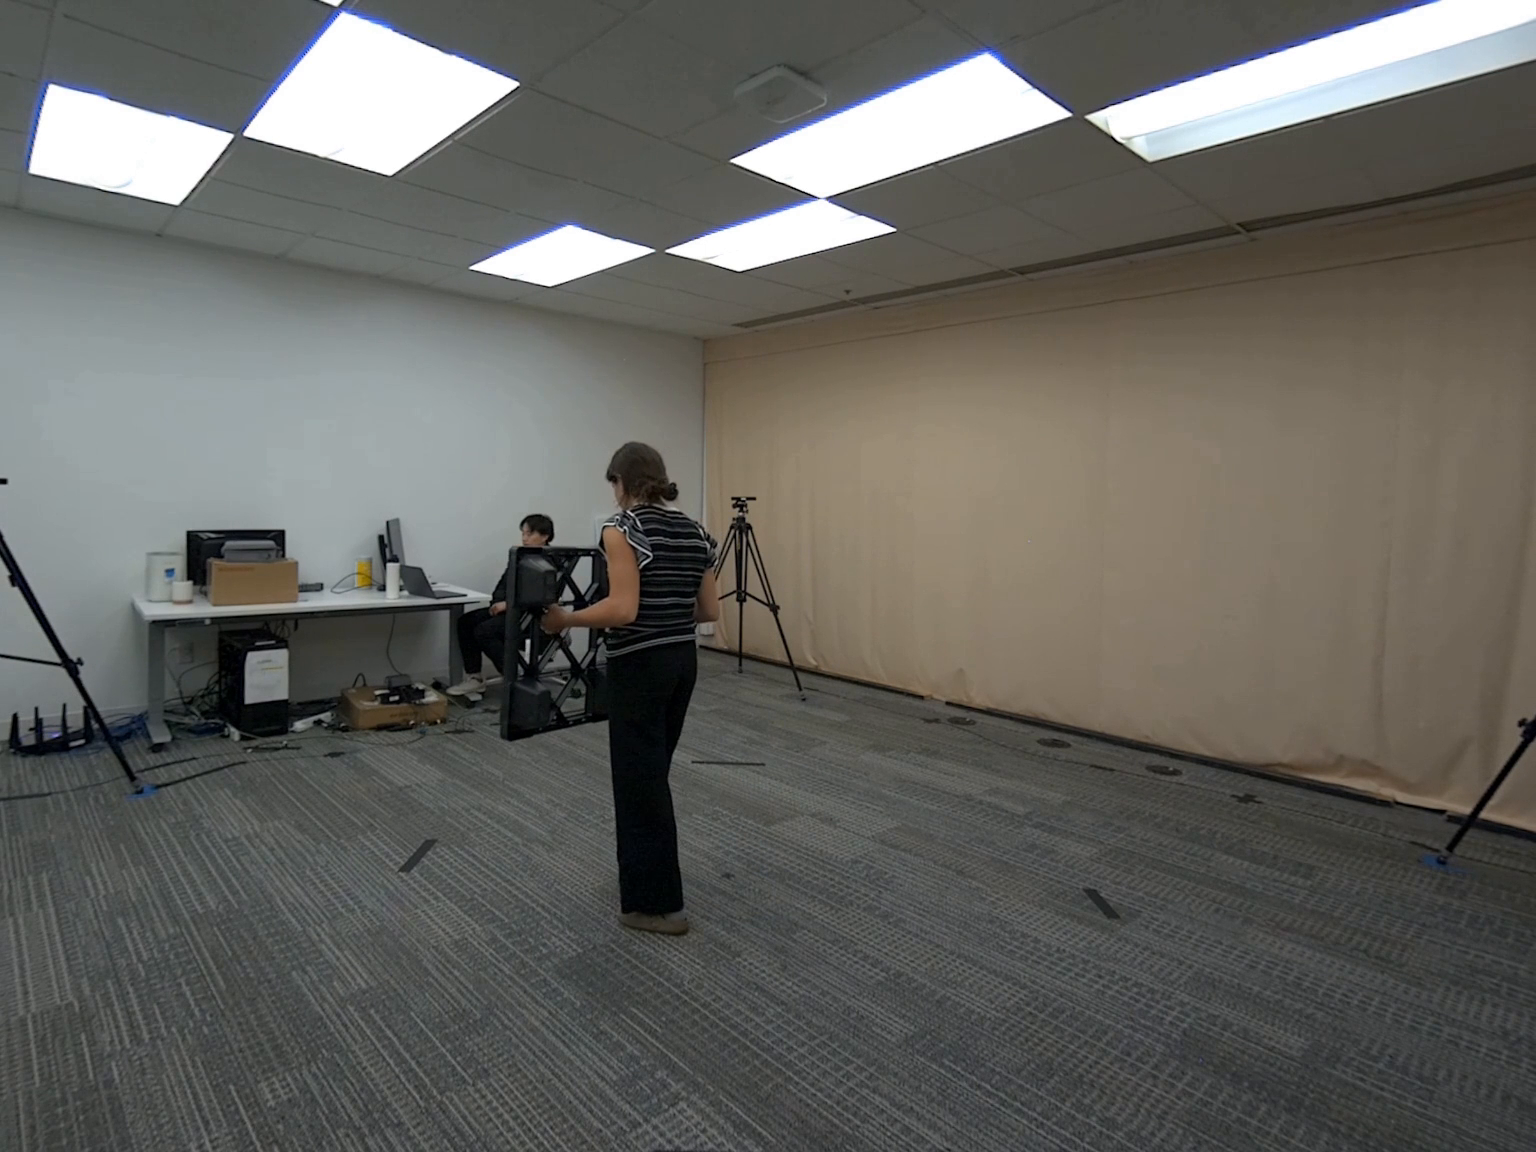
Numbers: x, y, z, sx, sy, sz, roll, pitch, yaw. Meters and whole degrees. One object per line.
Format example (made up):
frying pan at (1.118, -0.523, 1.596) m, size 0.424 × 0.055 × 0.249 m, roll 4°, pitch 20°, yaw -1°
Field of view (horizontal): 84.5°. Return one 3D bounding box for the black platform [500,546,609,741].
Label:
black platform at (-0.524, 0.203, 2.852) m, size 0.147 × 0.604 × 0.787 m, roll 6°, pitch 4°, yaw 36°
